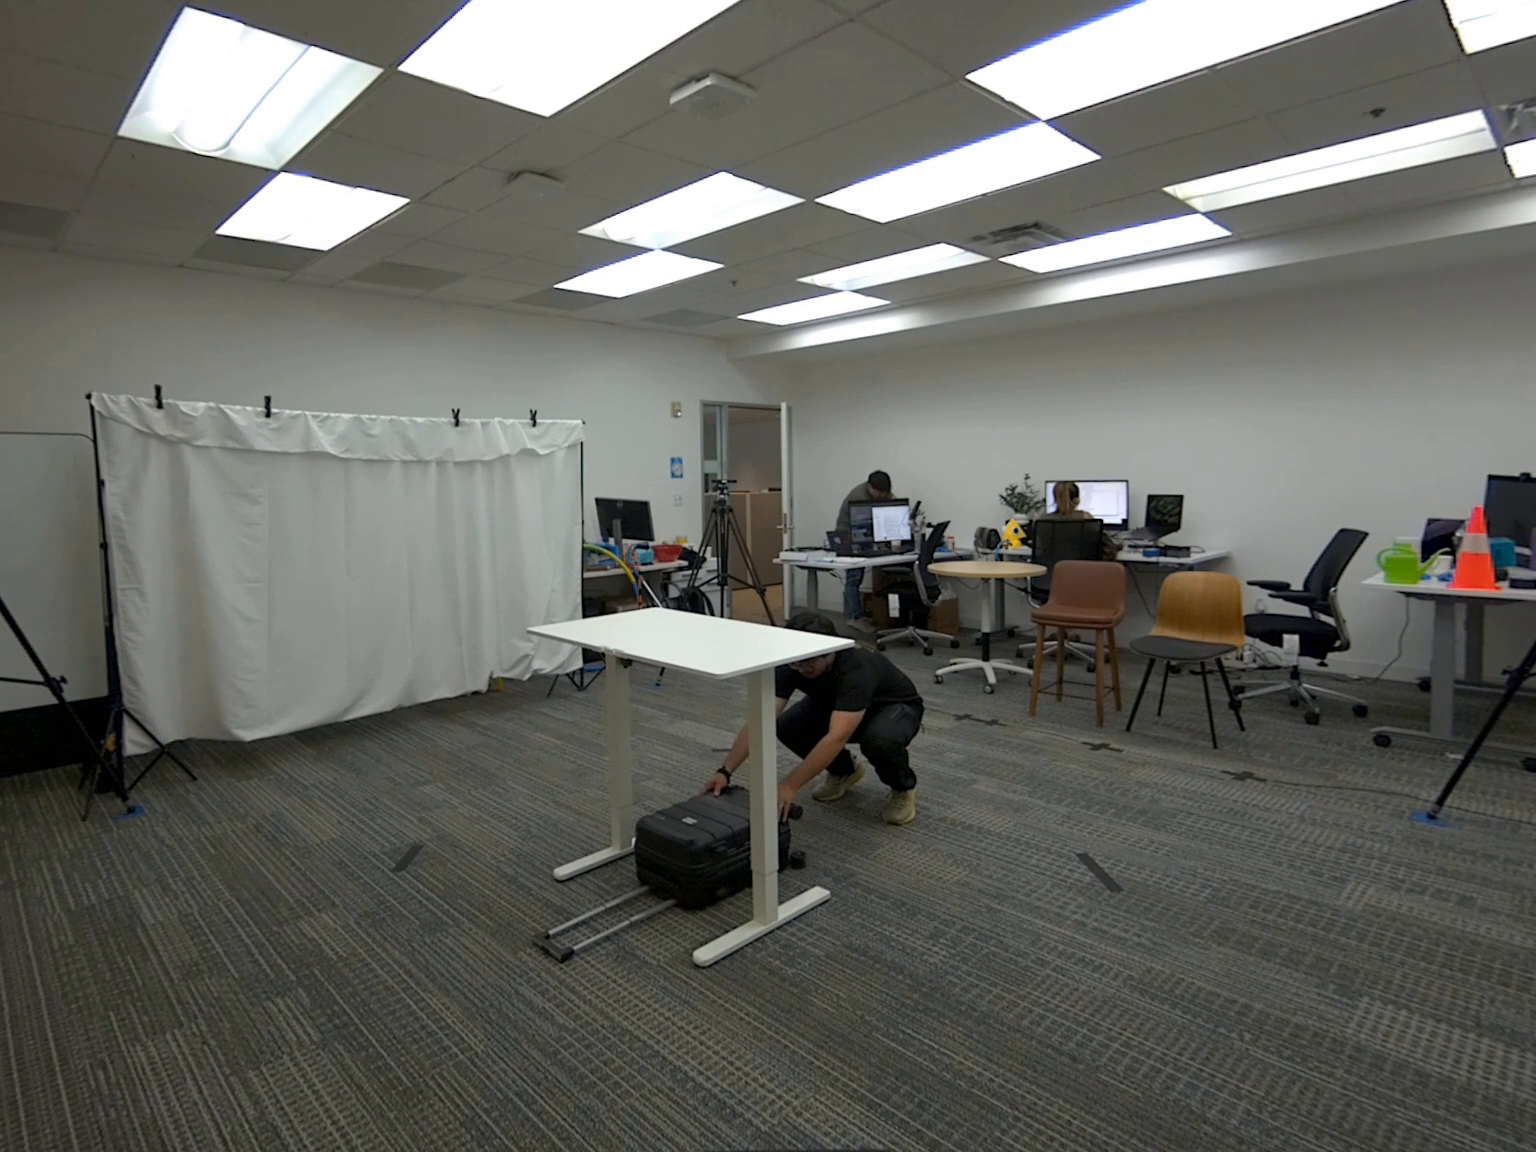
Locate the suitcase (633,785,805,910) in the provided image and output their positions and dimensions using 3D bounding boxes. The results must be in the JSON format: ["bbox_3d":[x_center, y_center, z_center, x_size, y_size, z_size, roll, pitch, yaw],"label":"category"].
[{"bbox_3d":[-0.320,0.957,2.878,0.396,0.256,0.953,5,8,43],"label":"suitcase"}]
